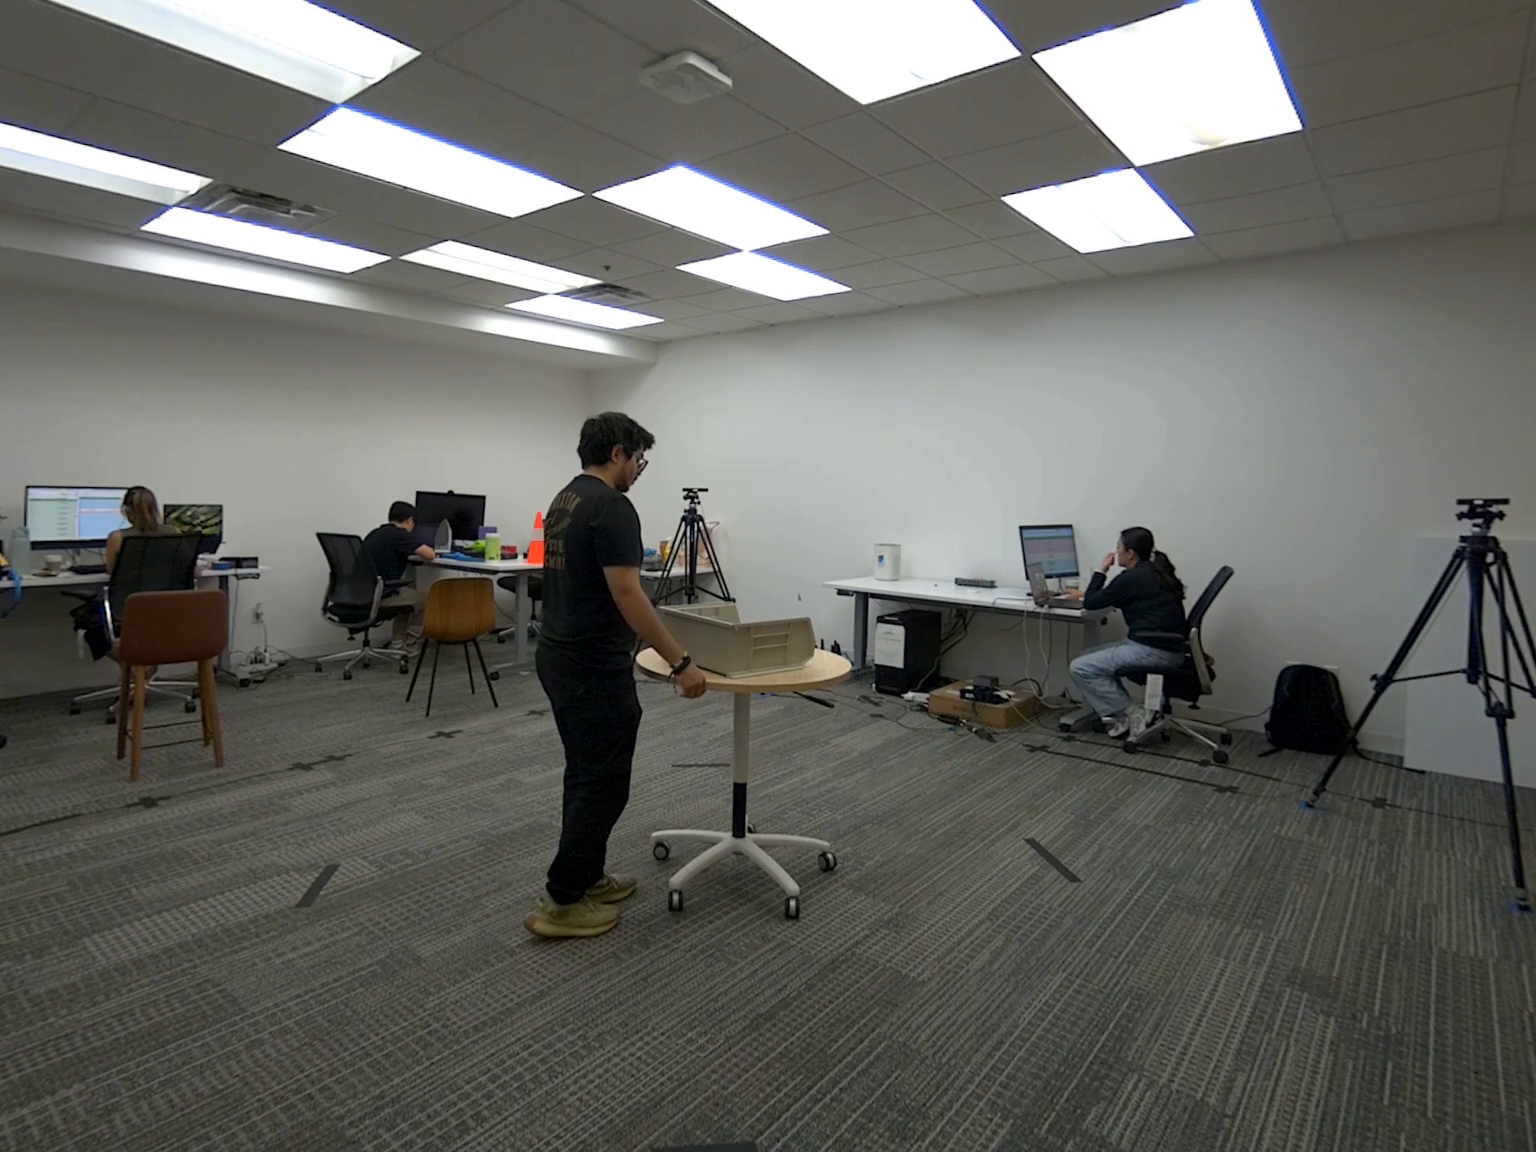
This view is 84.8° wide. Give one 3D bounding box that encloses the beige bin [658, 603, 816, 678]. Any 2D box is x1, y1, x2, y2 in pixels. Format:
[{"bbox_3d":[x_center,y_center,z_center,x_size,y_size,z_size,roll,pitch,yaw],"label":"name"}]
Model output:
[{"bbox_3d":[-0.122,0.212,2.982,0.366,0.188,0.437,-4,8,-40],"label":"beige bin"}]
